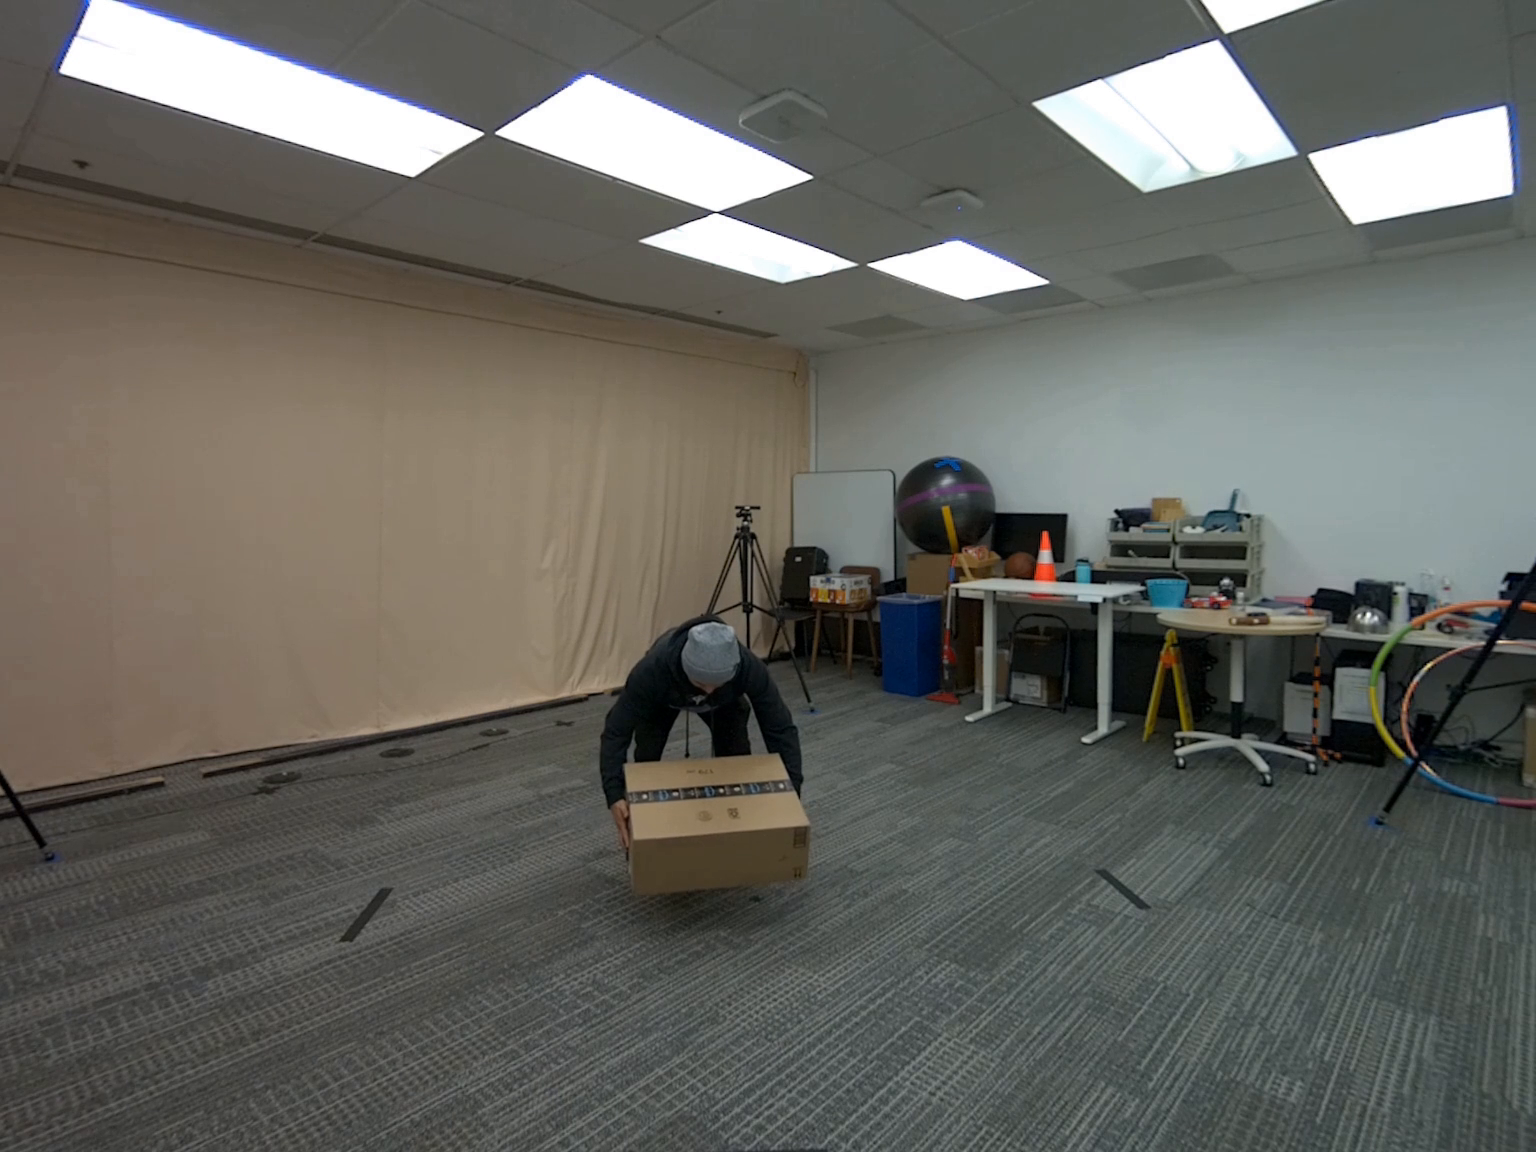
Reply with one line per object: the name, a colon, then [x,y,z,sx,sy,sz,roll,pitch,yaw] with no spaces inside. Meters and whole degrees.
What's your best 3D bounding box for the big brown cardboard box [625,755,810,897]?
big brown cardboard box: [-0.194,0.827,2.841,0.583,0.230,0.426,-3,21,-9]
